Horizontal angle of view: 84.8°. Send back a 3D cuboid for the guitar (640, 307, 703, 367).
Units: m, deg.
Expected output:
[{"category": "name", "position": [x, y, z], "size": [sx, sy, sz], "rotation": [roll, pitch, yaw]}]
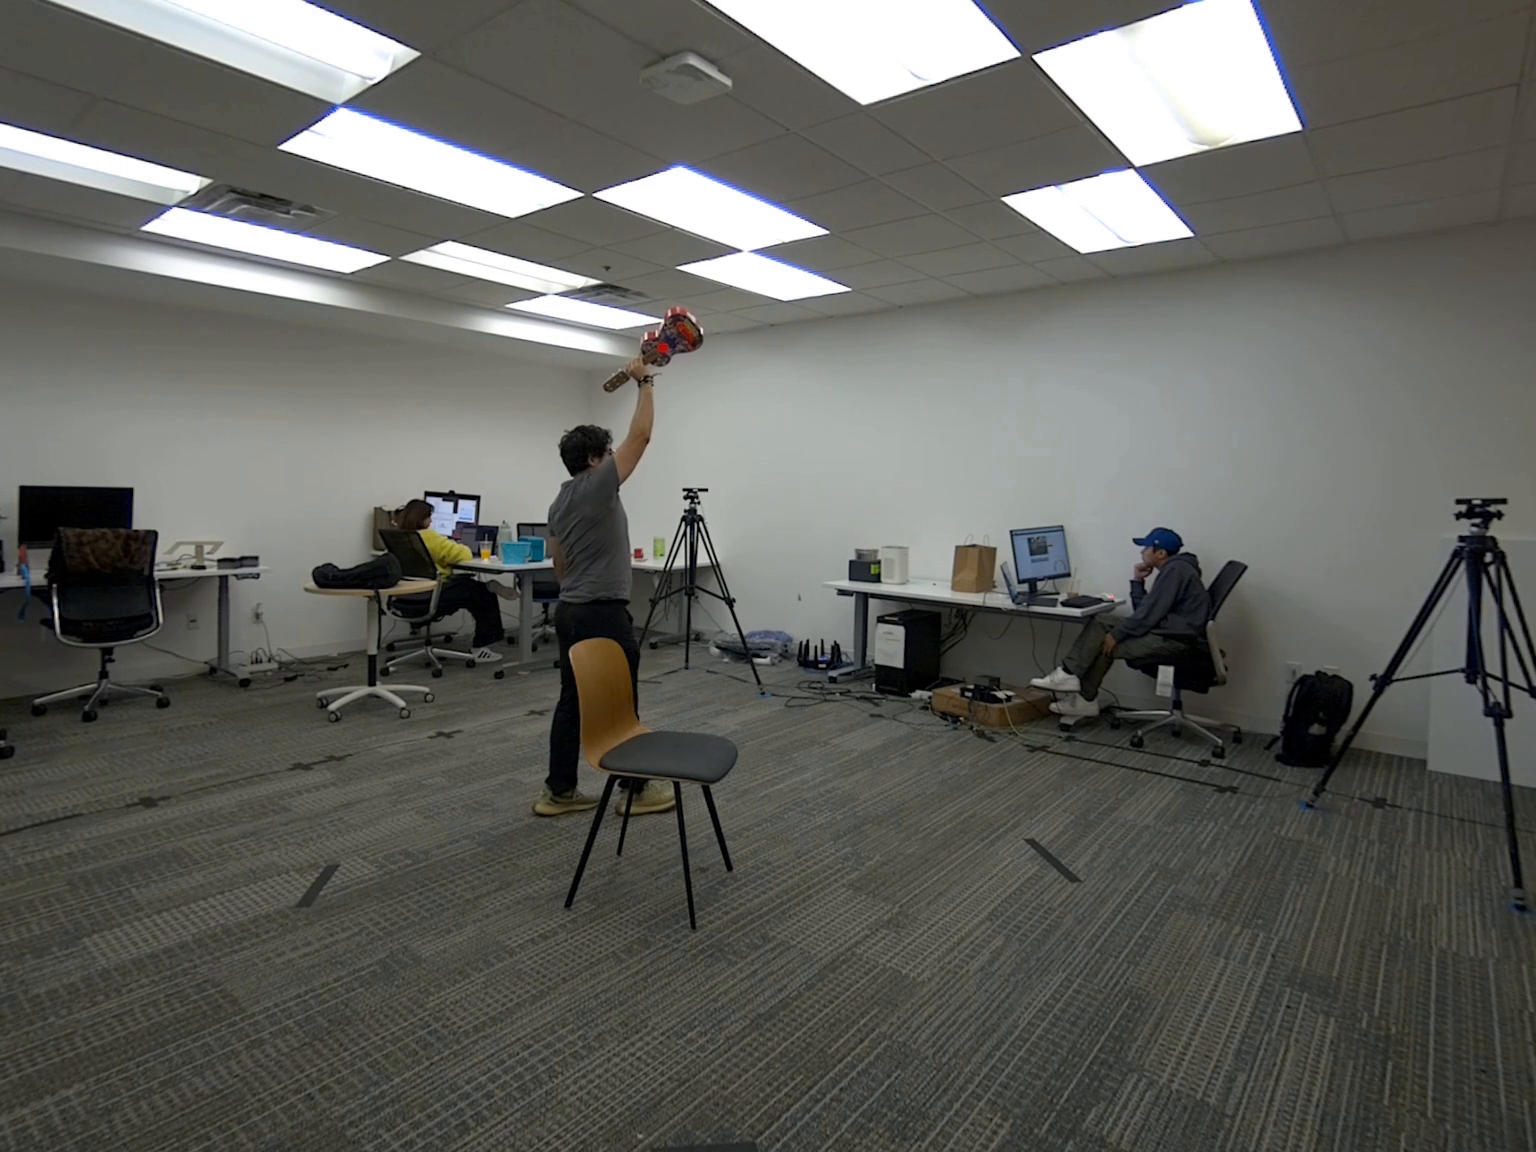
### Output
[{"category": "guitar", "position": [-0.530, -0.967, 3.617], "size": [0.502, 0.185, 0.073], "rotation": [-23, 38, 14]}]
